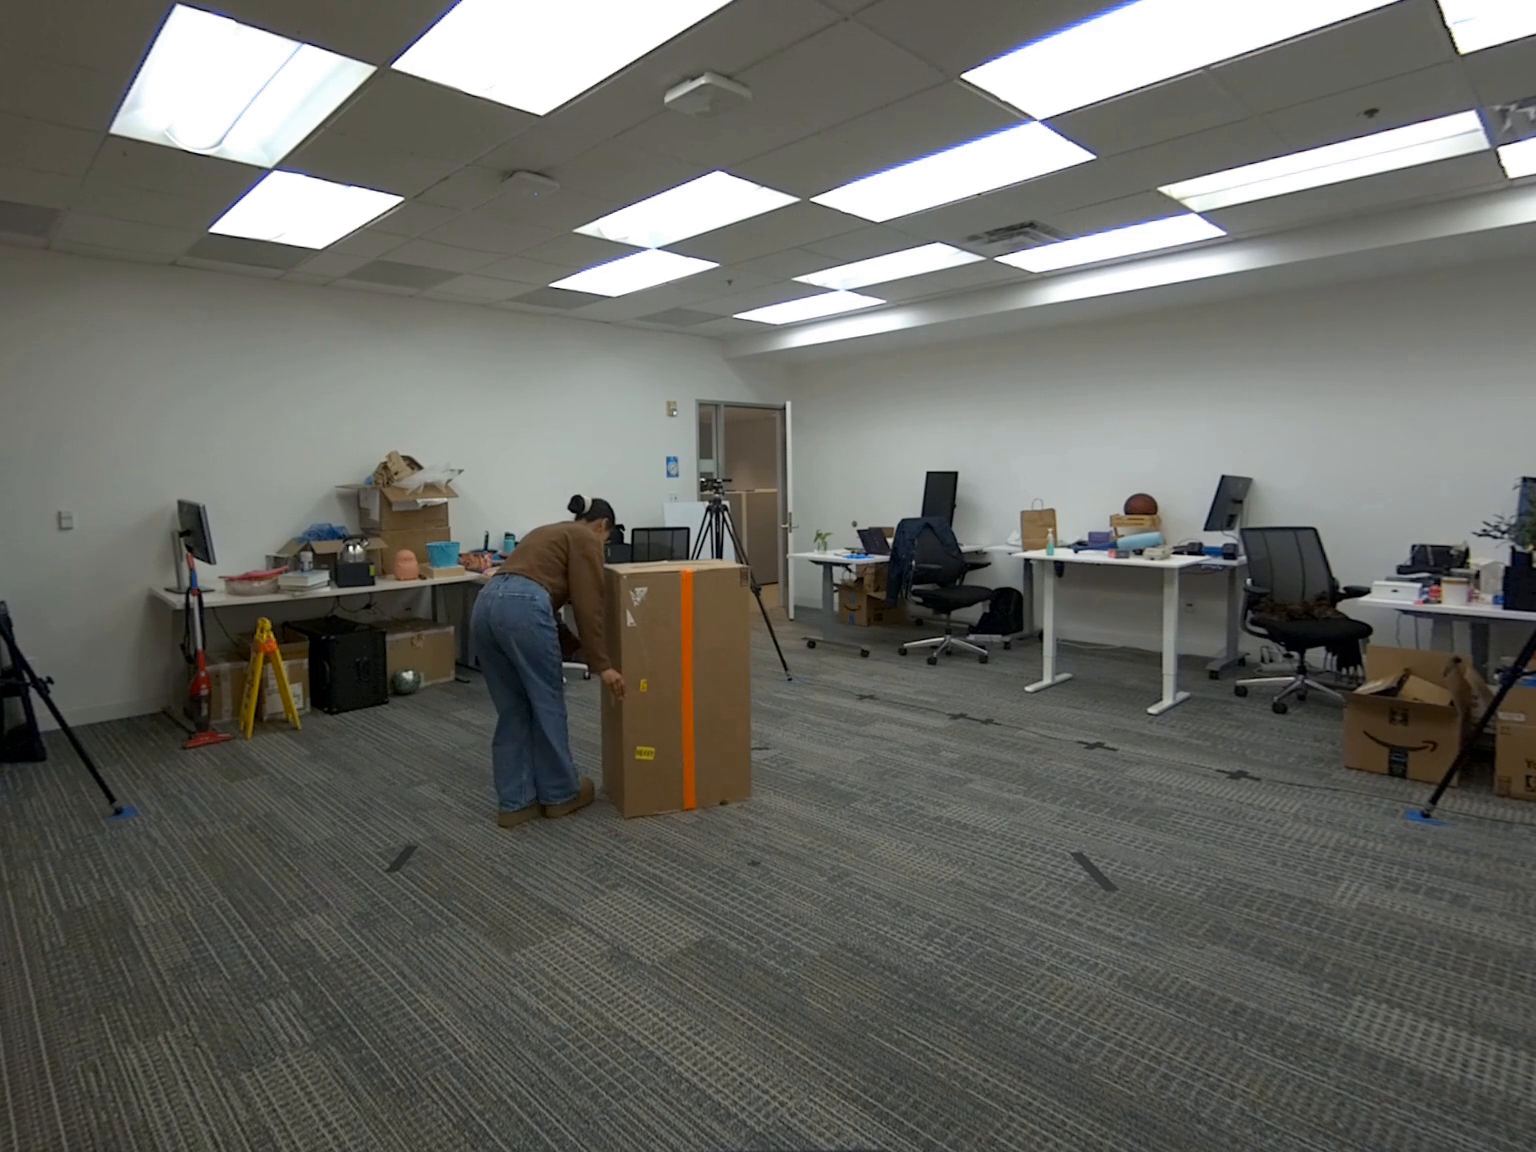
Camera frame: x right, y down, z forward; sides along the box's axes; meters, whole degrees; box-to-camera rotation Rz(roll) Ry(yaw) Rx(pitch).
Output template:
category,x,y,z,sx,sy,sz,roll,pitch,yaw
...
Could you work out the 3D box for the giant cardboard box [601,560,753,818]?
category,x,y,z,sx,sy,sz,roll,pitch,yaw
giant cardboard box,-0.418,0.465,3.795,0.566,1.023,0.436,-1,3,-22
